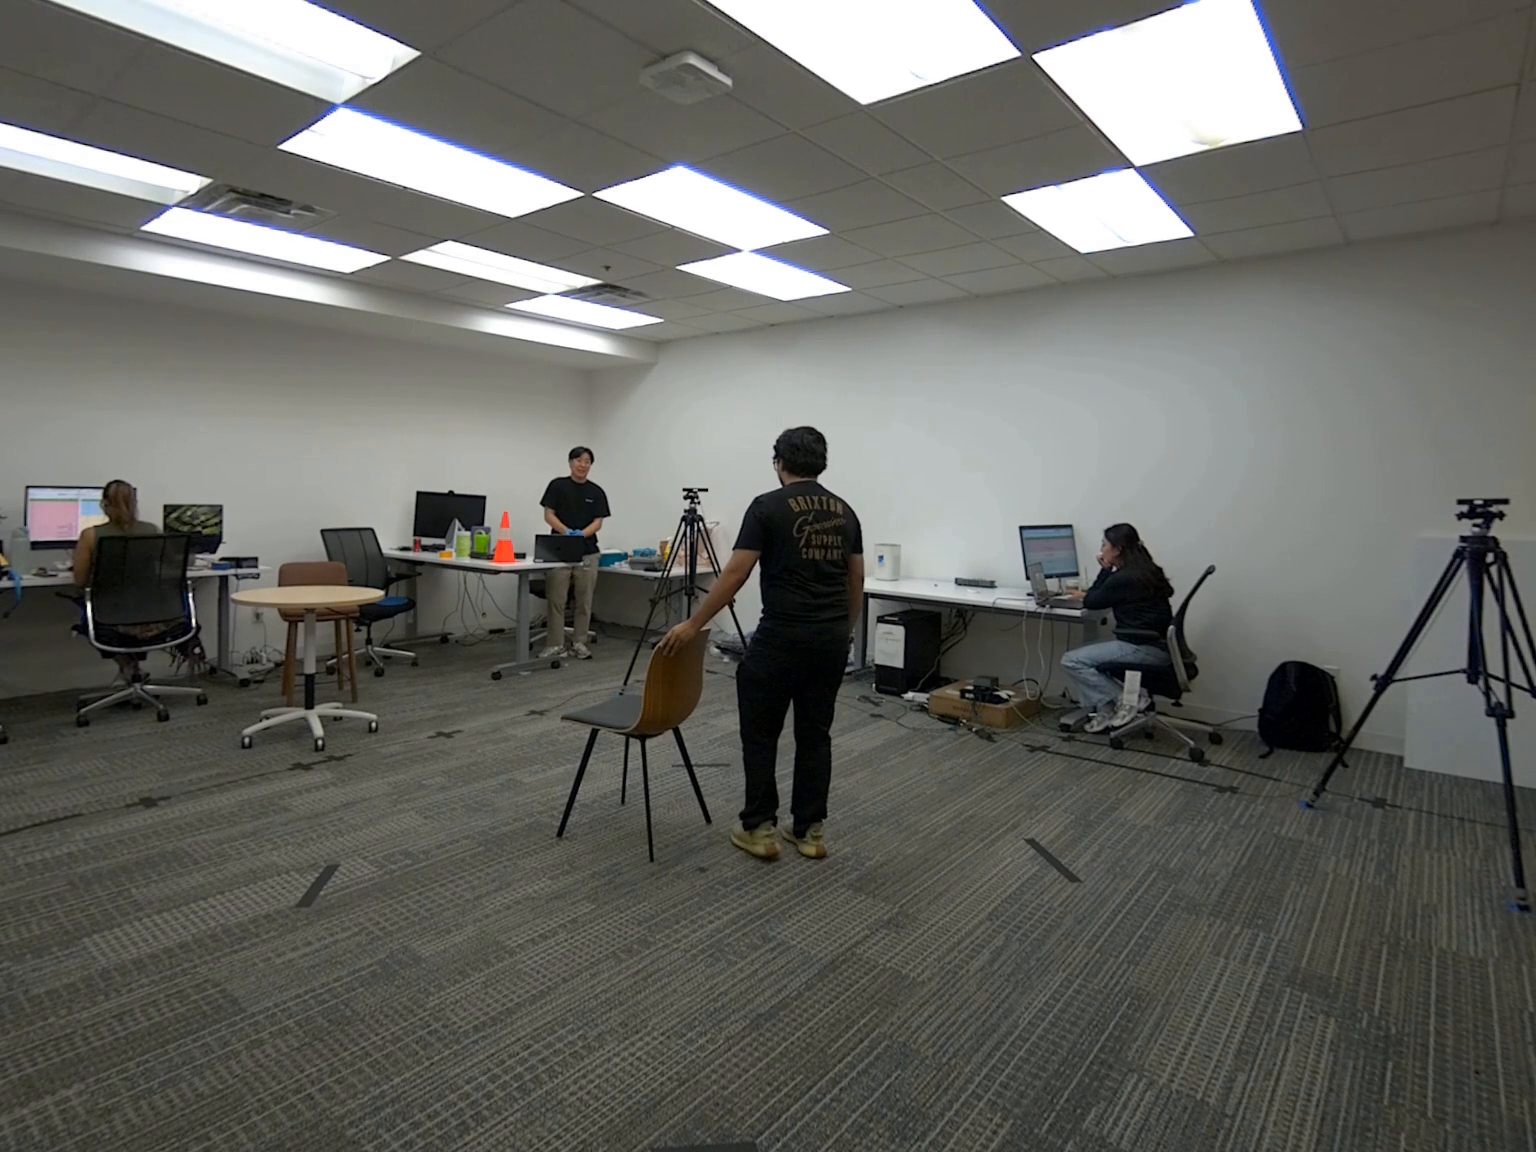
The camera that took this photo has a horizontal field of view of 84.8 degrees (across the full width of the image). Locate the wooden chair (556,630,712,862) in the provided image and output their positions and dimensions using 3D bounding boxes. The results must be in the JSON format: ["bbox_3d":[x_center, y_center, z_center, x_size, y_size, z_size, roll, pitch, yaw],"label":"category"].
[{"bbox_3d":[-0.548,0.605,3.430,0.538,0.873,0.466,8,6,27],"label":"wooden chair"}]
